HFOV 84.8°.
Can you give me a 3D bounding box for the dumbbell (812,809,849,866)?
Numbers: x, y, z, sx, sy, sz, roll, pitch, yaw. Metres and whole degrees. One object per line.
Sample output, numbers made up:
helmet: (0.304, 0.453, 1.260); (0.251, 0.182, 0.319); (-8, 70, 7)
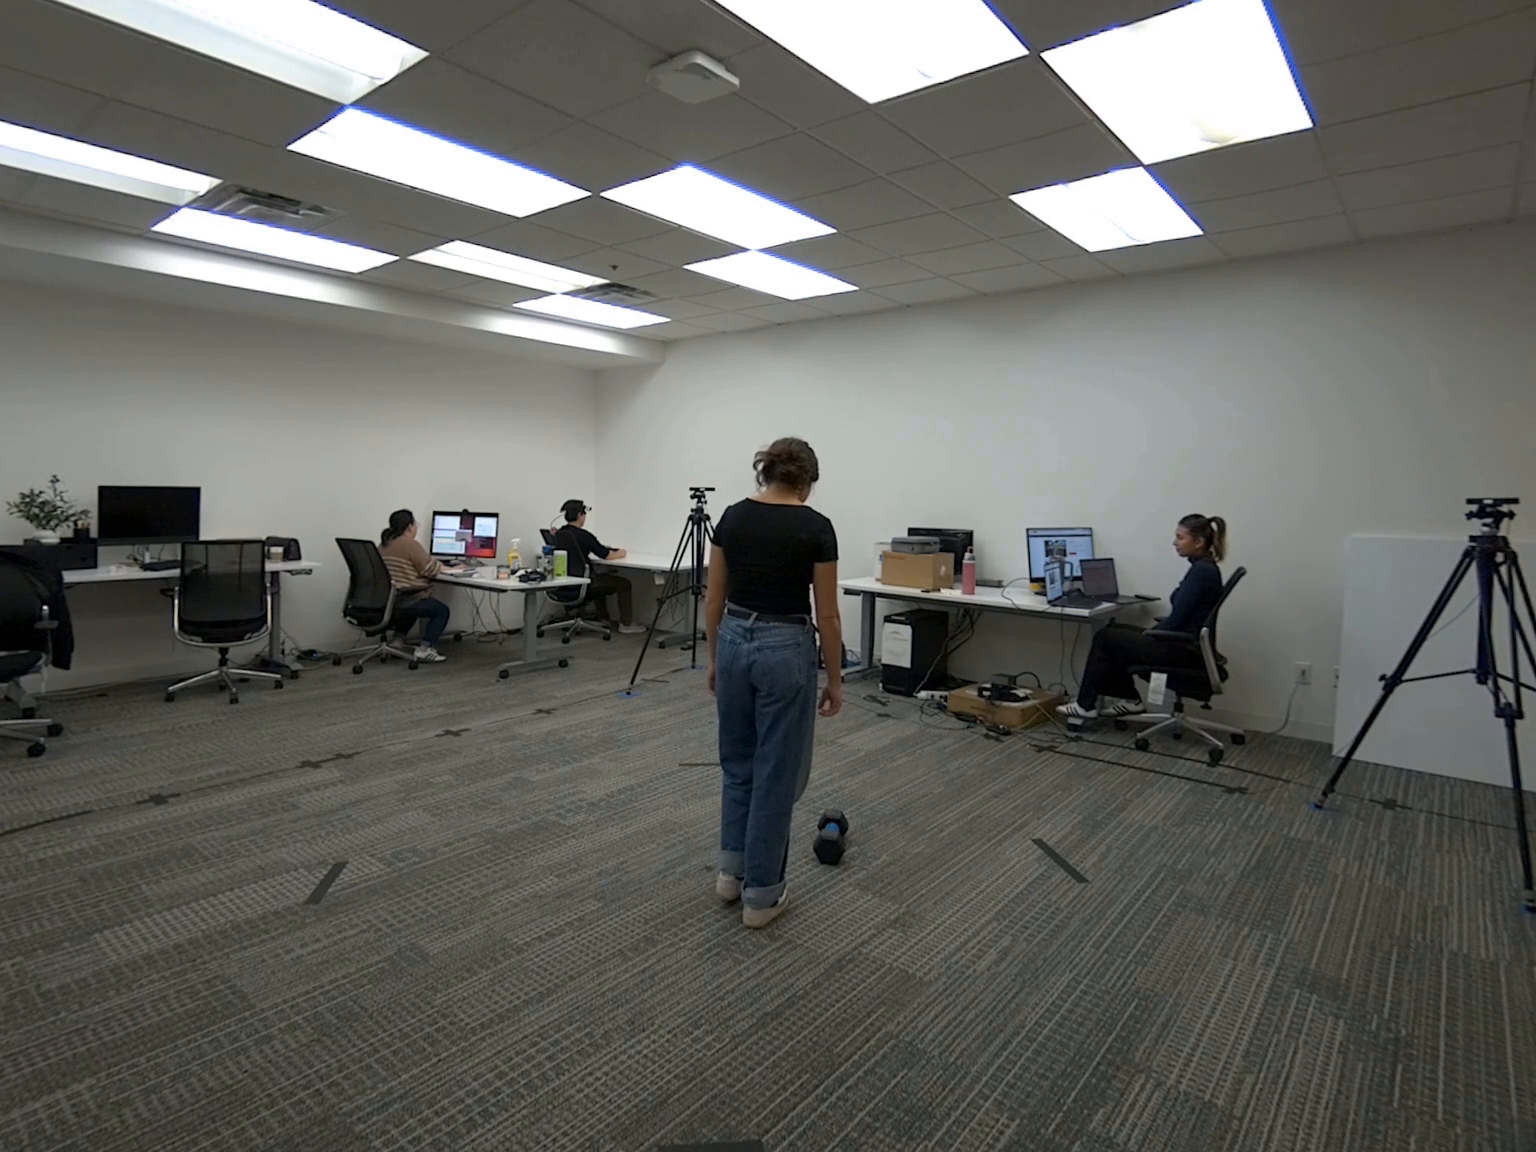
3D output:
dumbbell: (0.239, 1.002, 3.297); (0.110, 0.122, 0.291); (31, 8, 5)
